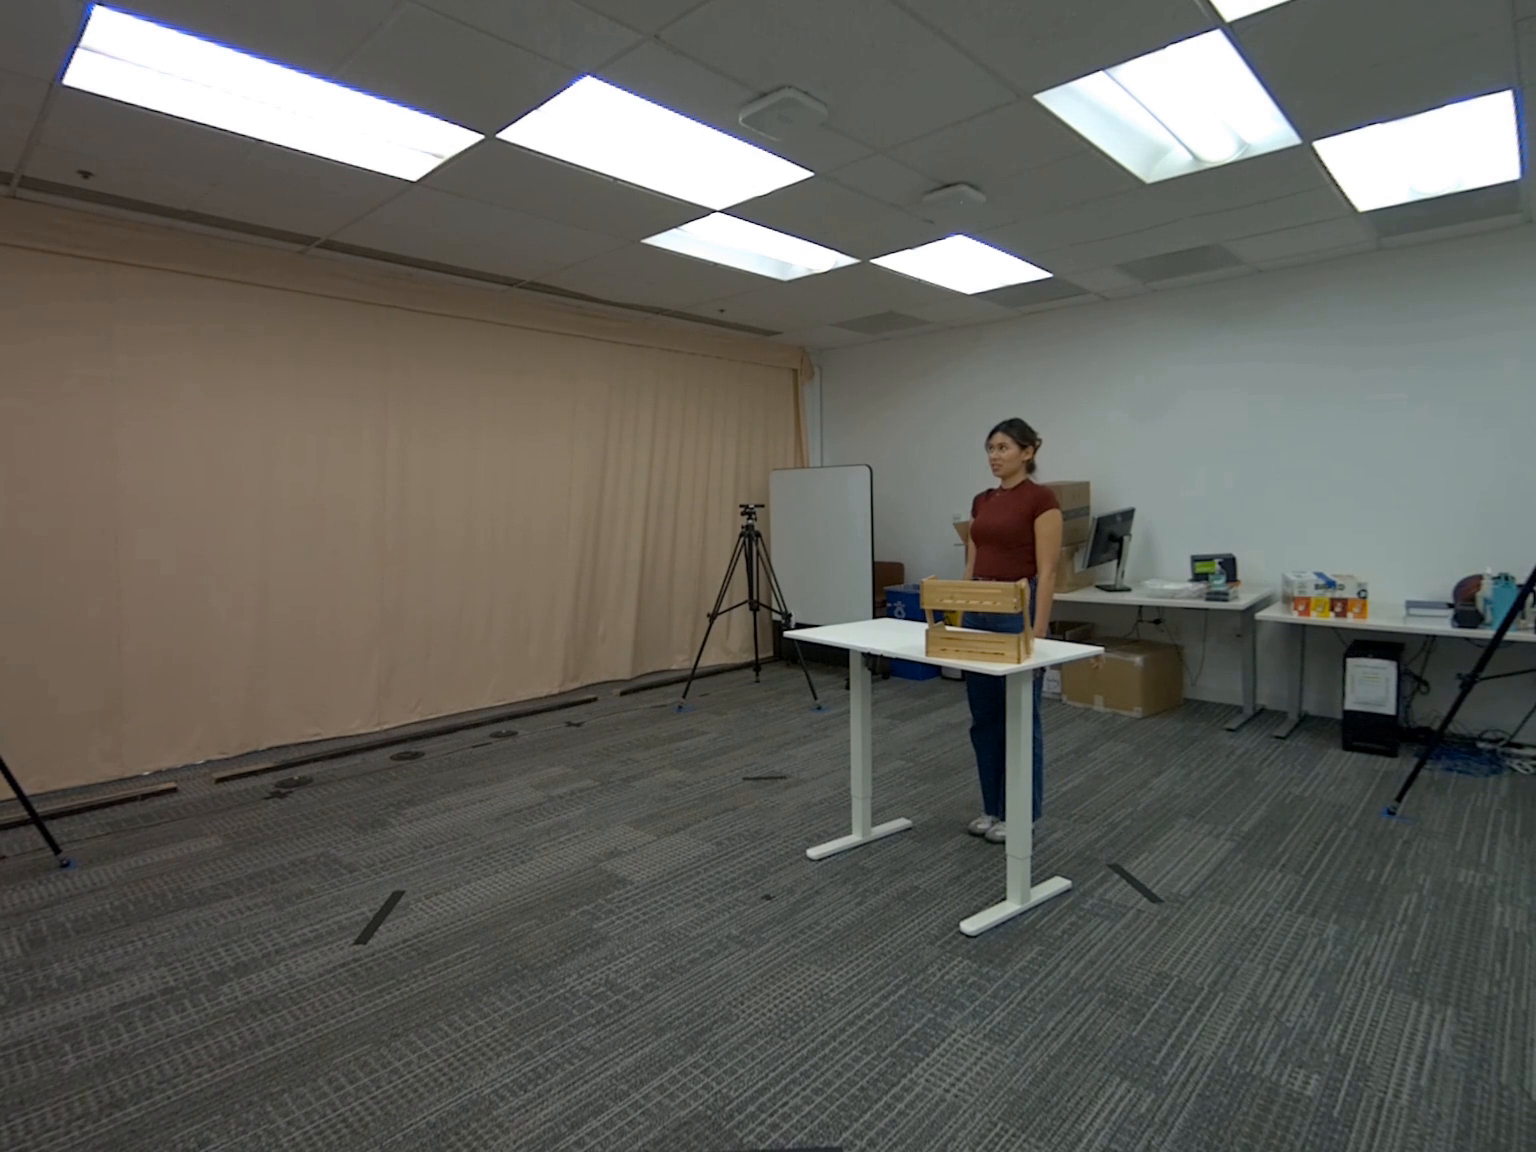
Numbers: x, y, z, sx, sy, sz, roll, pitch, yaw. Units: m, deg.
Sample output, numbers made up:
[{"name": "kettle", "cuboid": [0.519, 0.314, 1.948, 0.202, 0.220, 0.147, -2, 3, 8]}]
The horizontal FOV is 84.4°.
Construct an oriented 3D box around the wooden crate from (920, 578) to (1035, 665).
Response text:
[{"name": "wooden crate", "cuboid": [0.711, 0.134, 2.777, 0.333, 0.272, 0.294, 2, 5, 28]}]
